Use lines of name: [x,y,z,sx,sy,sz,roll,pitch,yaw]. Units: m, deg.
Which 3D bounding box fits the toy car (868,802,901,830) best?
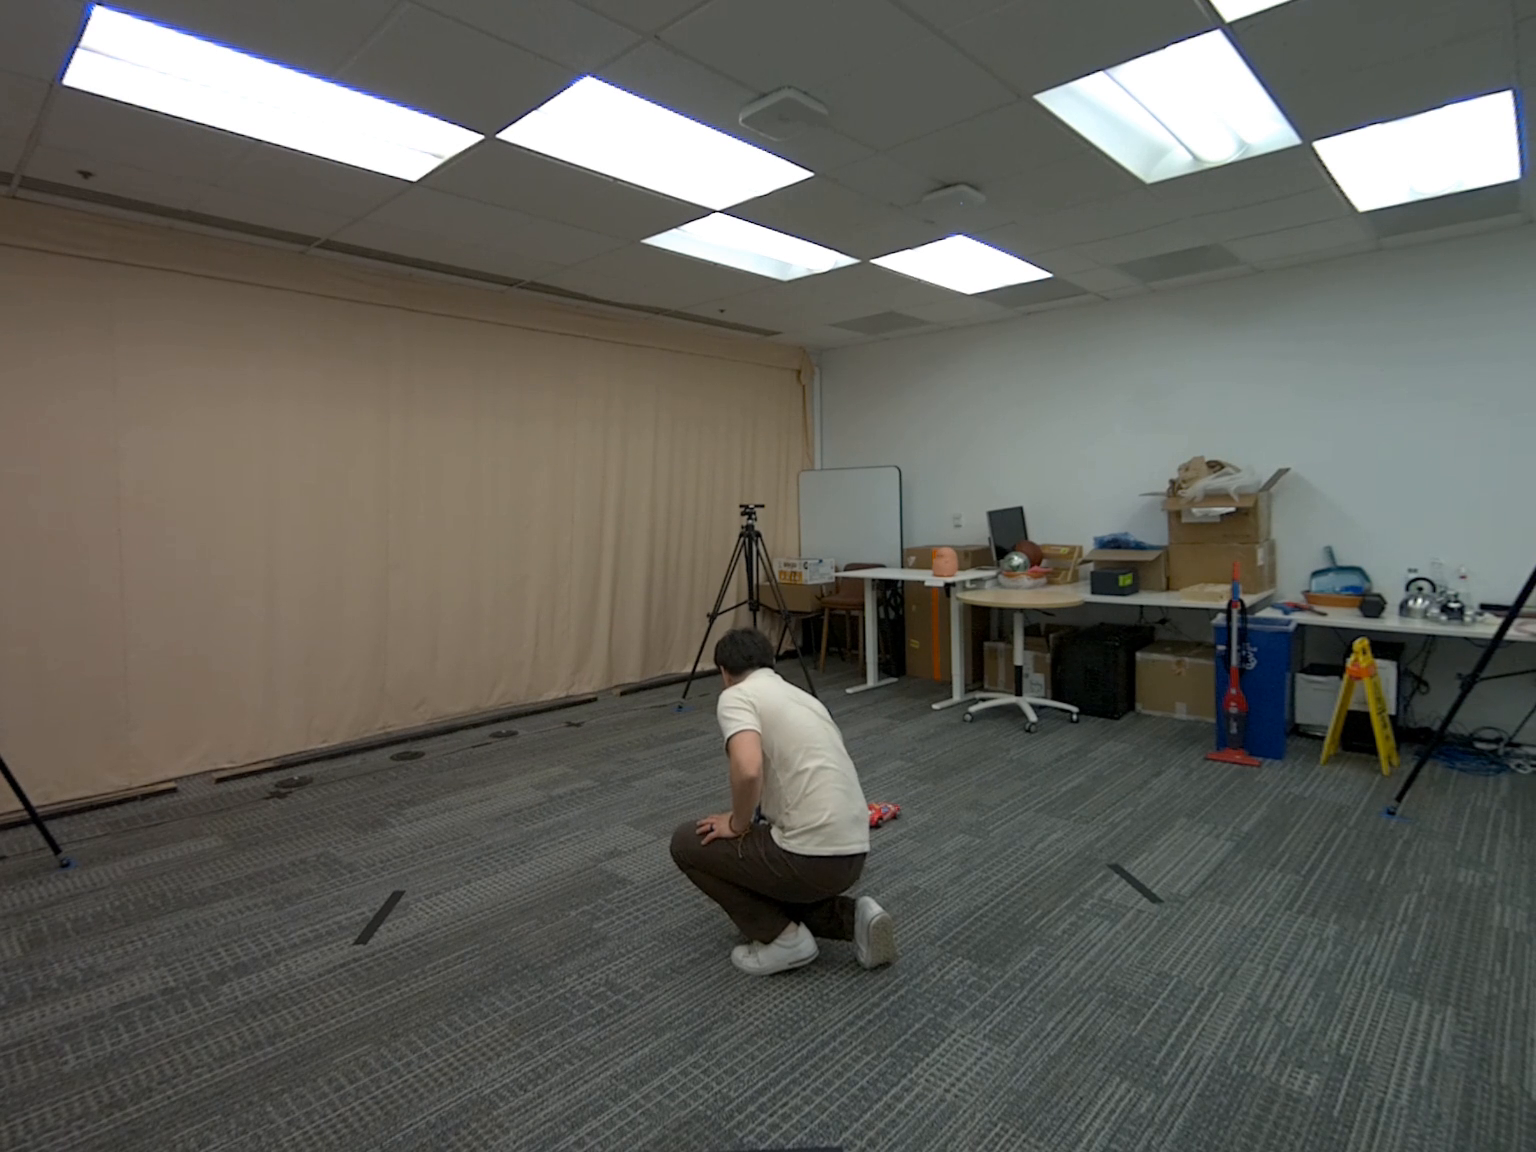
toy car: [0.468,1.042,3.672,0.134,0.083,0.246,4,-5,43]
